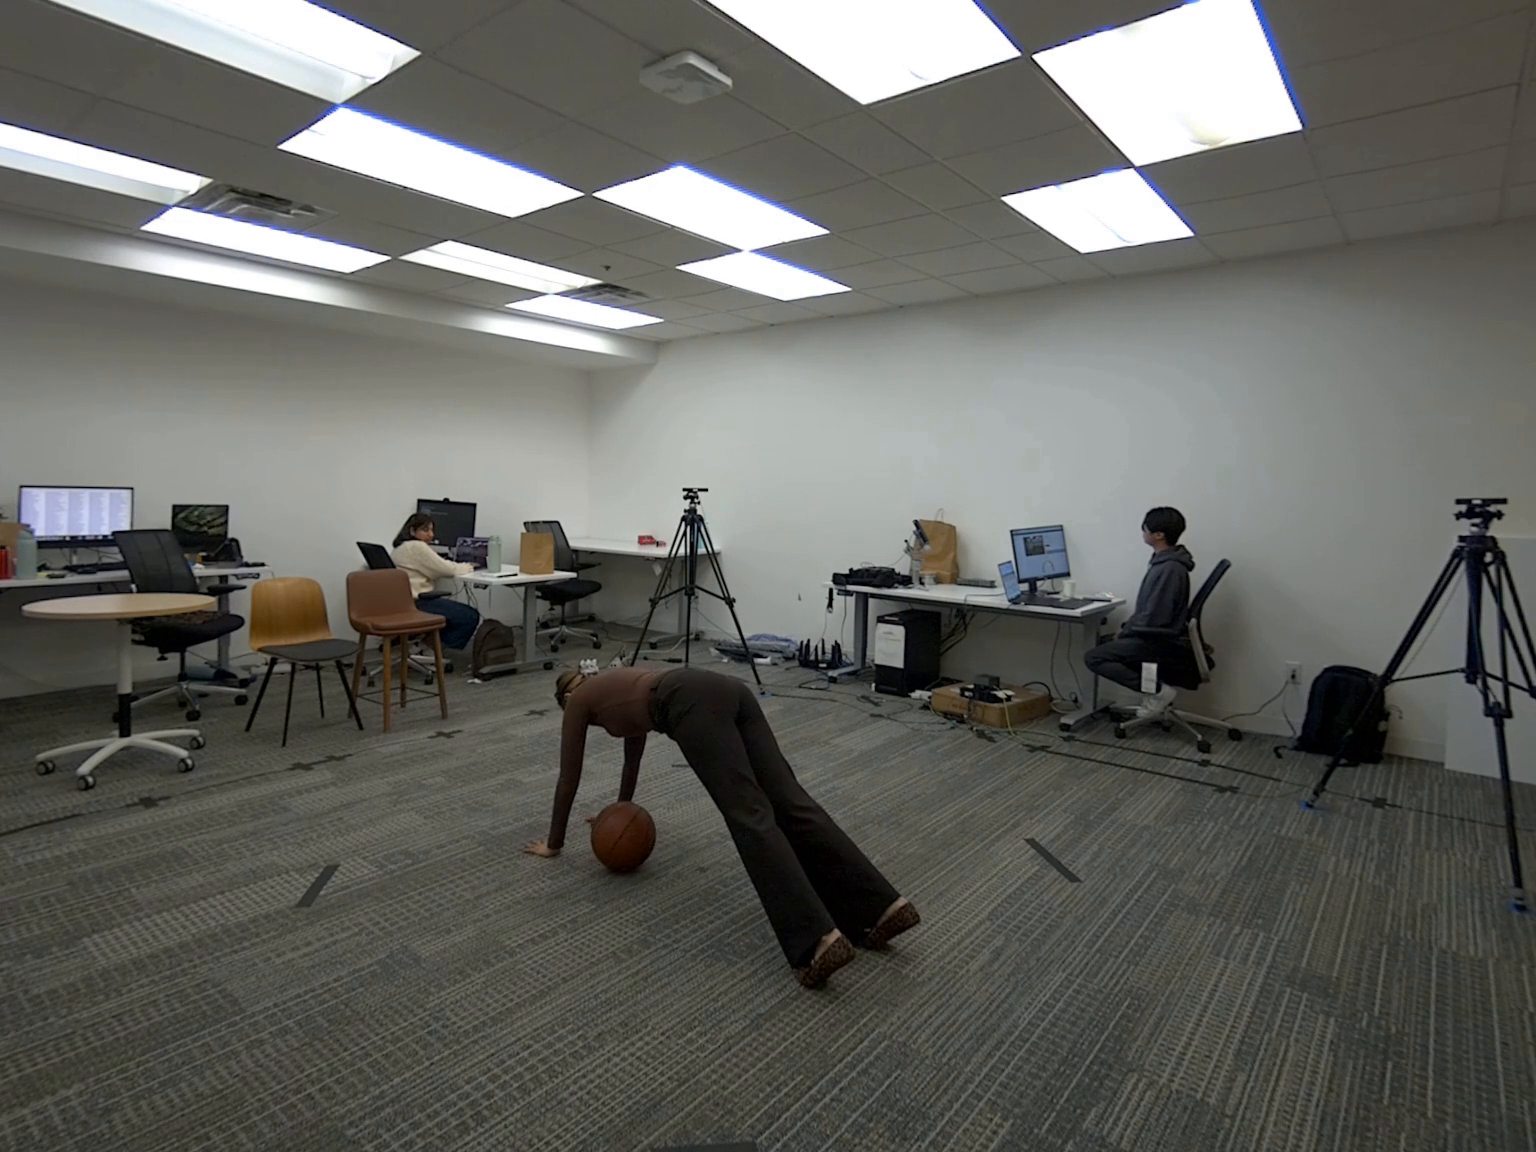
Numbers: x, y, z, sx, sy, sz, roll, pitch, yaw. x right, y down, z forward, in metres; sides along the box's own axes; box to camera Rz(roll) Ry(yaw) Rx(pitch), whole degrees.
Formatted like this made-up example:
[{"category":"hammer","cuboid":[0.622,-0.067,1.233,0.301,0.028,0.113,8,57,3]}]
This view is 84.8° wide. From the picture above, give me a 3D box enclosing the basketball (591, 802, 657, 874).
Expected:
[{"category":"basketball","cuboid":[-0.535,0.945,3.101,0.236,0.235,0.237,1,4,-2]}]
